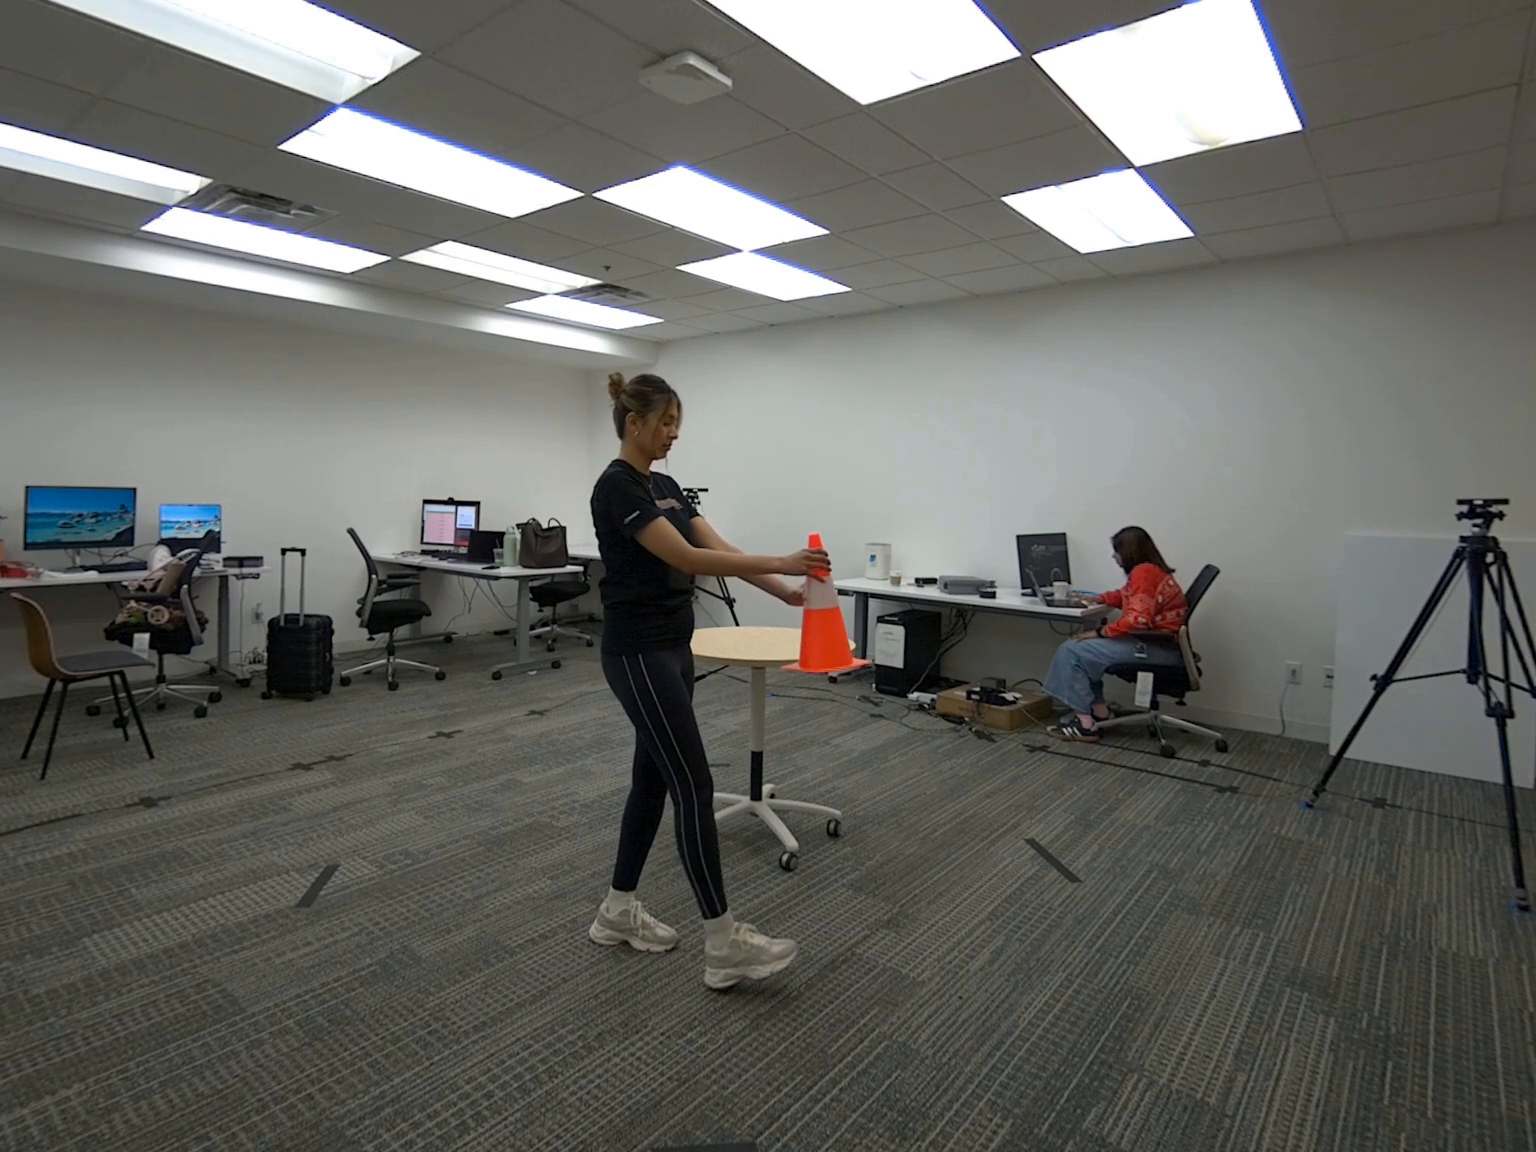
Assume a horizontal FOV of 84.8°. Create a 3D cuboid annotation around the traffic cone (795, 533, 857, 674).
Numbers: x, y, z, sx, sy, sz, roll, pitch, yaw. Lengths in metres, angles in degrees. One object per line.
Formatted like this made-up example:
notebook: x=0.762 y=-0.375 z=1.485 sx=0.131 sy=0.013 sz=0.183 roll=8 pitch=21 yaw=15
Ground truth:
traffic cone: x=0.149 y=0.069 z=2.441 sx=0.208 sy=0.383 sz=0.201 roll=-4 pitch=3 yaw=12
